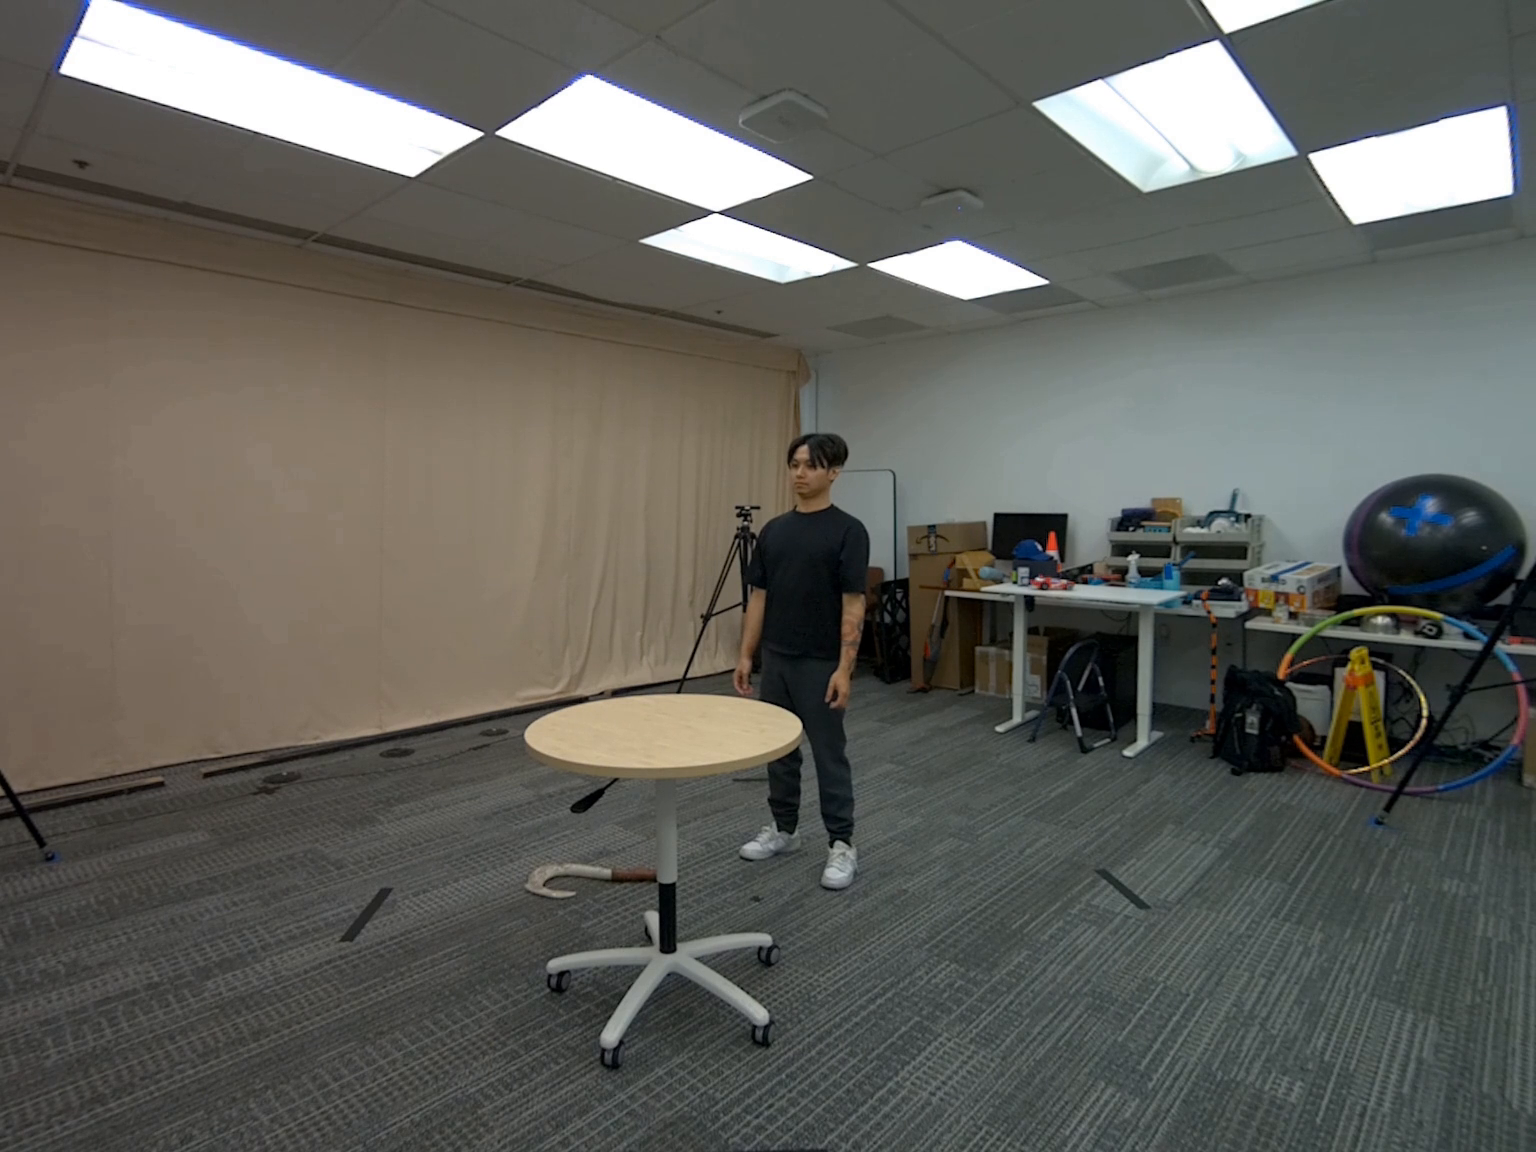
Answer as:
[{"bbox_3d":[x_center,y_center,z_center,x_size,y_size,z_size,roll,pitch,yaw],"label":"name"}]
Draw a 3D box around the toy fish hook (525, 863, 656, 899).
[{"bbox_3d":[-0.635,1.128,3.100,0.508,0.048,0.226,-1,12,2],"label":"toy fish hook"}]
